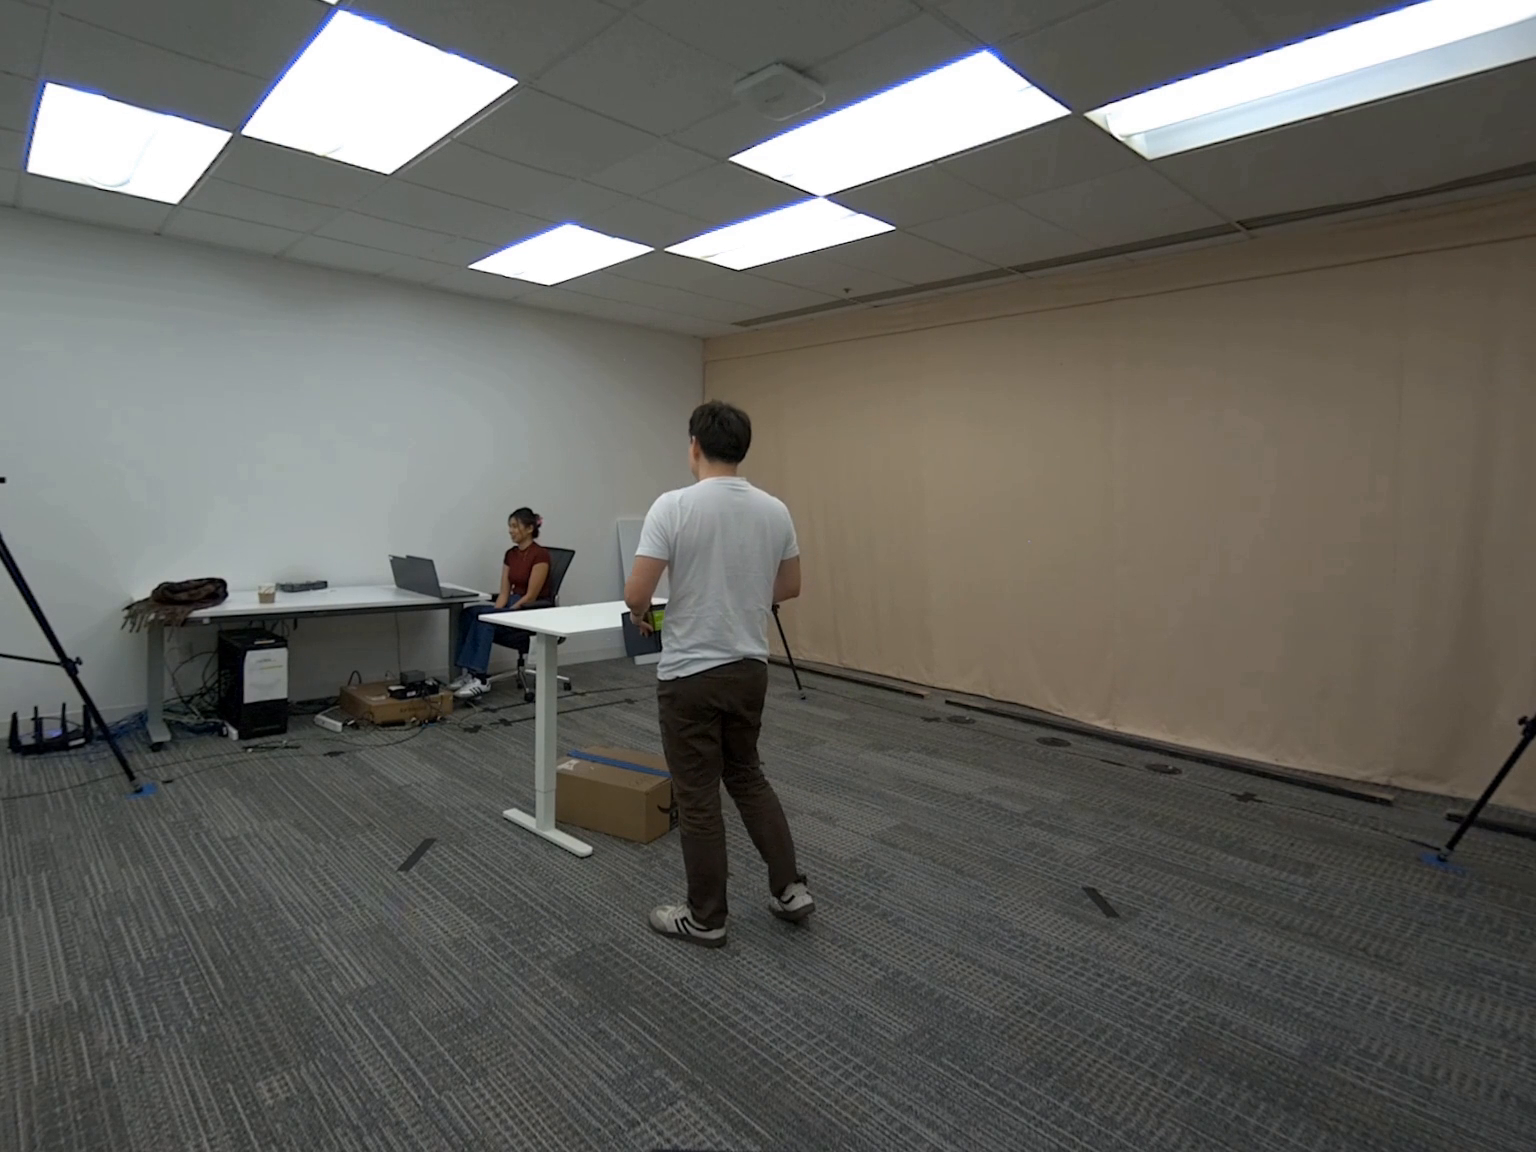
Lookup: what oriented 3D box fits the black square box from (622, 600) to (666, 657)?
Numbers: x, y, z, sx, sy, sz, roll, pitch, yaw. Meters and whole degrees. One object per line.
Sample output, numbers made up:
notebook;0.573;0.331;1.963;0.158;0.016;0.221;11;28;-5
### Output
black square box;-0.352;0.180;2.917;0.223;0.157;0.220;-3;-7;-35
